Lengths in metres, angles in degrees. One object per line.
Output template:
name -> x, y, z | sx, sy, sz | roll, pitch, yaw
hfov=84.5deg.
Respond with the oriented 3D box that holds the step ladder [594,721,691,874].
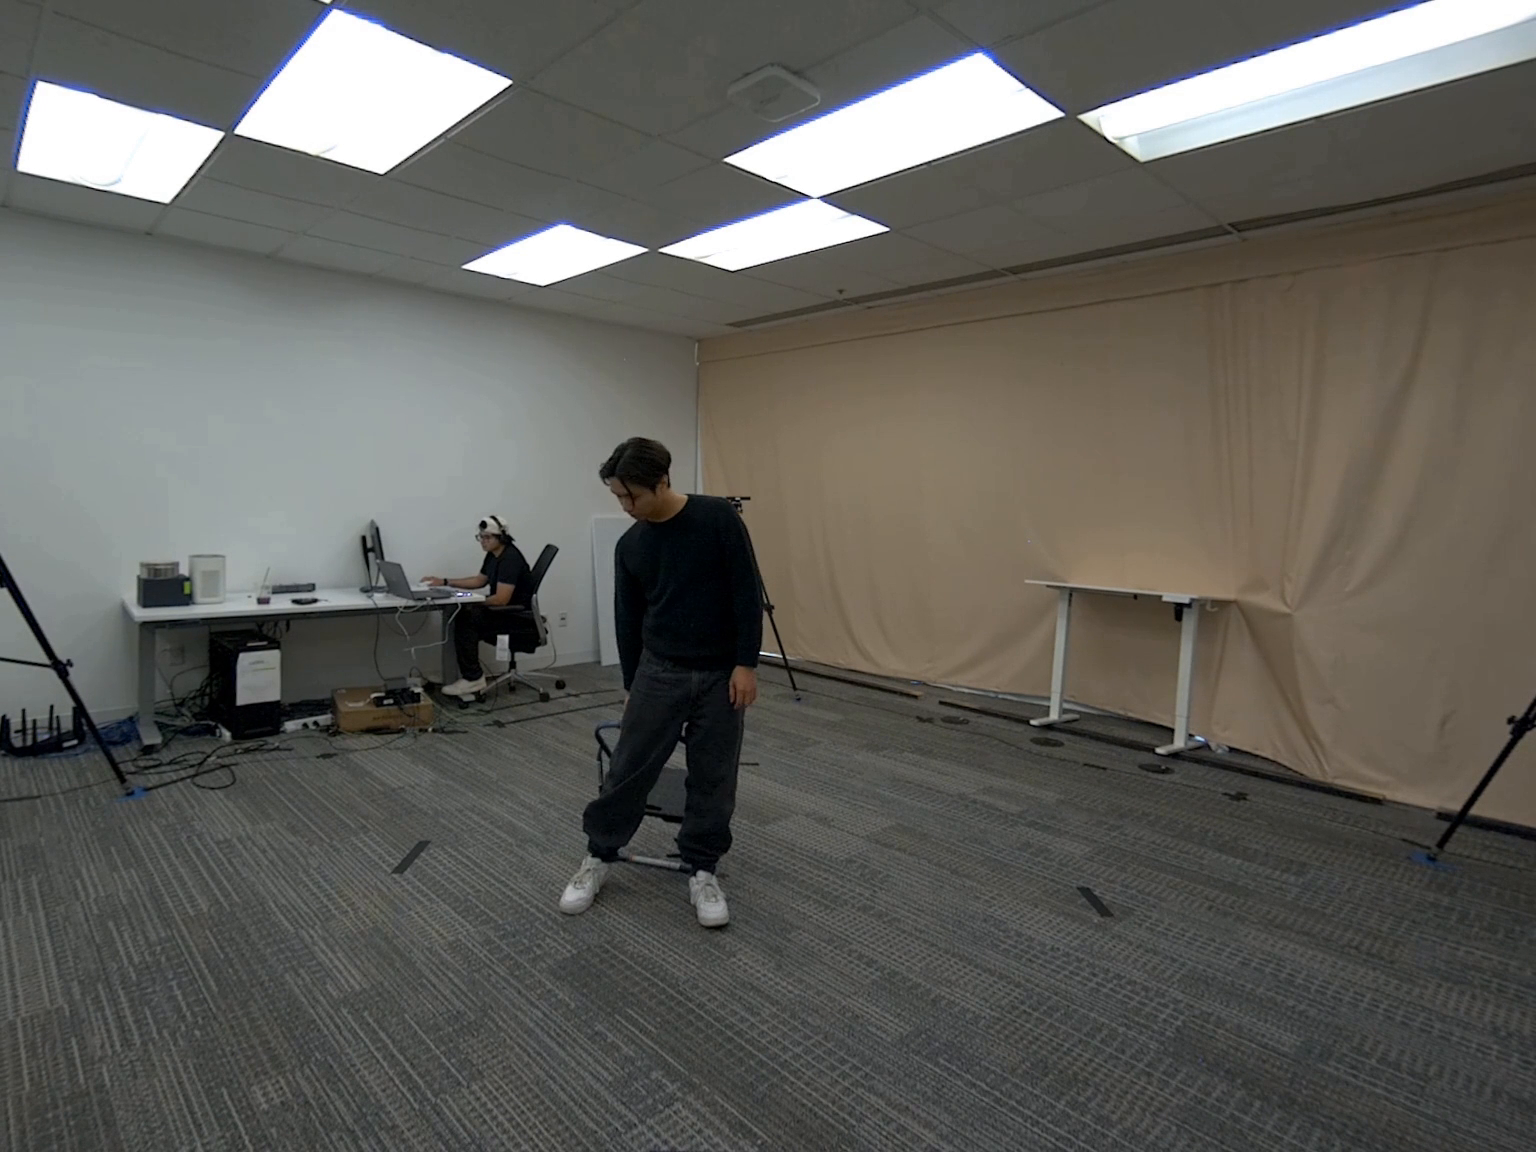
step ladder -> -0.429, 0.759, 3.175 | 0.437, 0.594, 0.351 | 3, 29, 17
